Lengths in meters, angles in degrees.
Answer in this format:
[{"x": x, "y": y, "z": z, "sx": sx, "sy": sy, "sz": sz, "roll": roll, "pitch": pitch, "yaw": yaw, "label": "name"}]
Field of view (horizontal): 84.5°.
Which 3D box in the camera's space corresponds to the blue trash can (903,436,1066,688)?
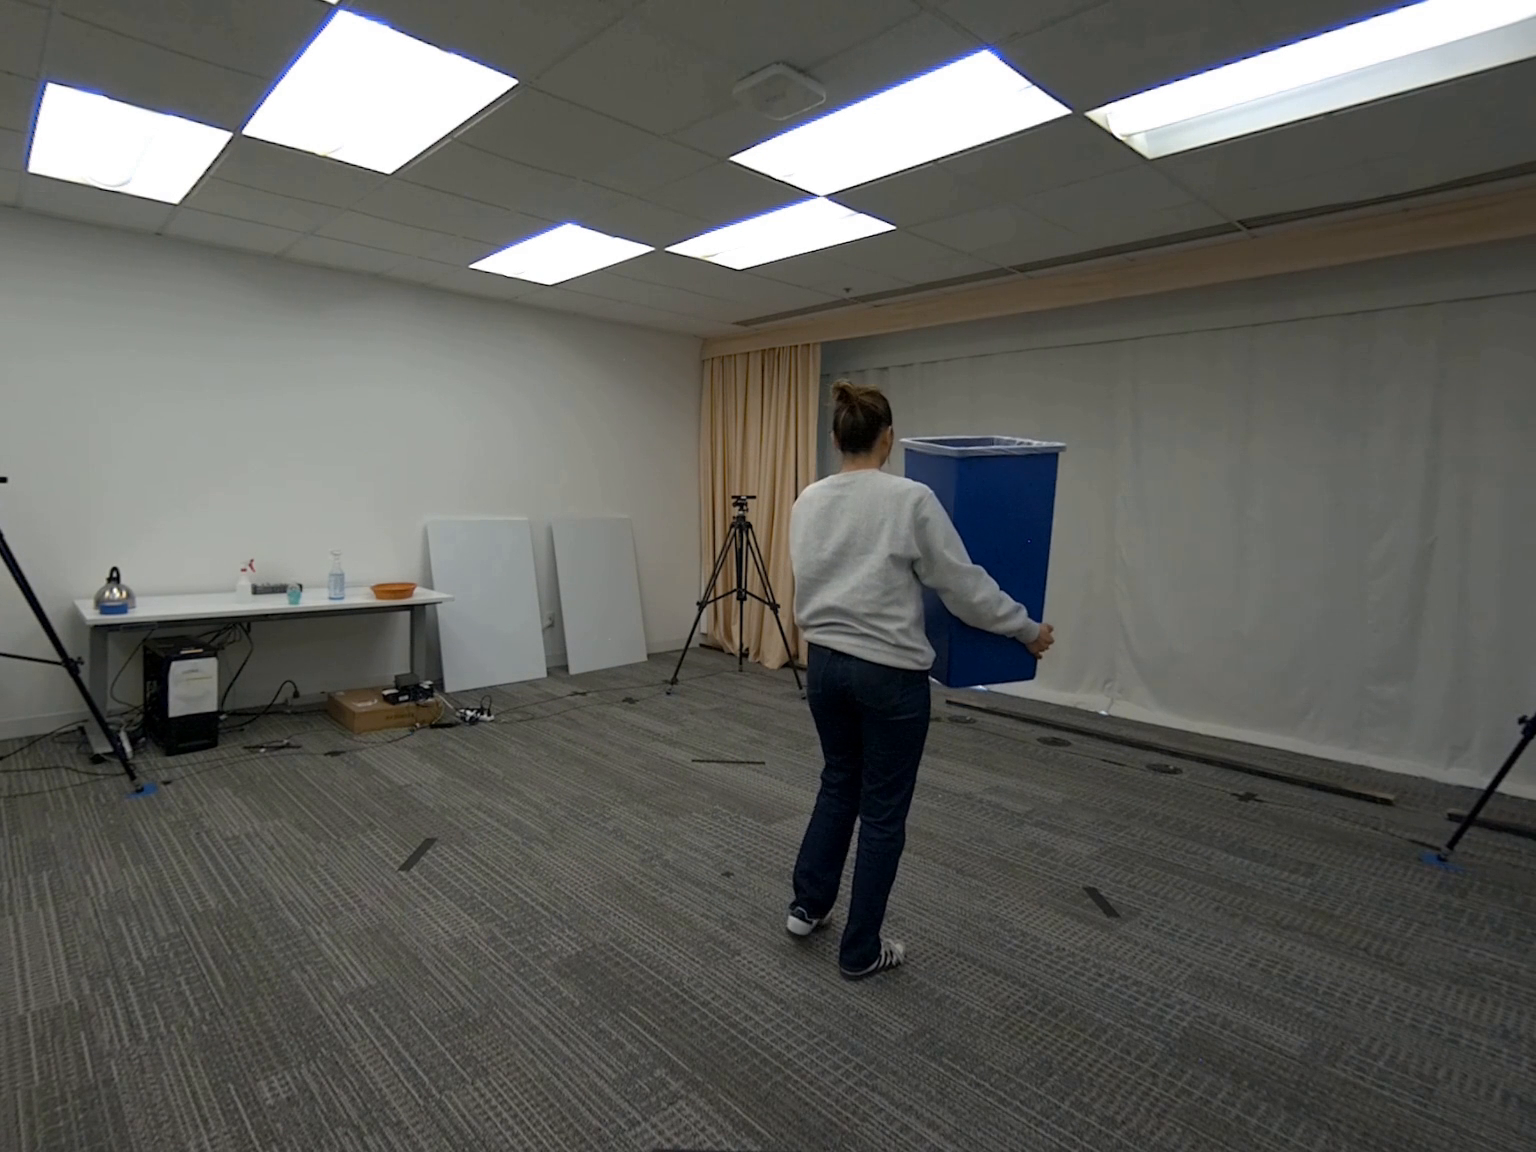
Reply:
[{"x": 0.619, "y": -0.057, "z": 2.579, "sx": 0.369, "sy": 0.708, "sz": 0.386, "roll": -3, "pitch": 11, "yaw": -17, "label": "blue trash can"}]
